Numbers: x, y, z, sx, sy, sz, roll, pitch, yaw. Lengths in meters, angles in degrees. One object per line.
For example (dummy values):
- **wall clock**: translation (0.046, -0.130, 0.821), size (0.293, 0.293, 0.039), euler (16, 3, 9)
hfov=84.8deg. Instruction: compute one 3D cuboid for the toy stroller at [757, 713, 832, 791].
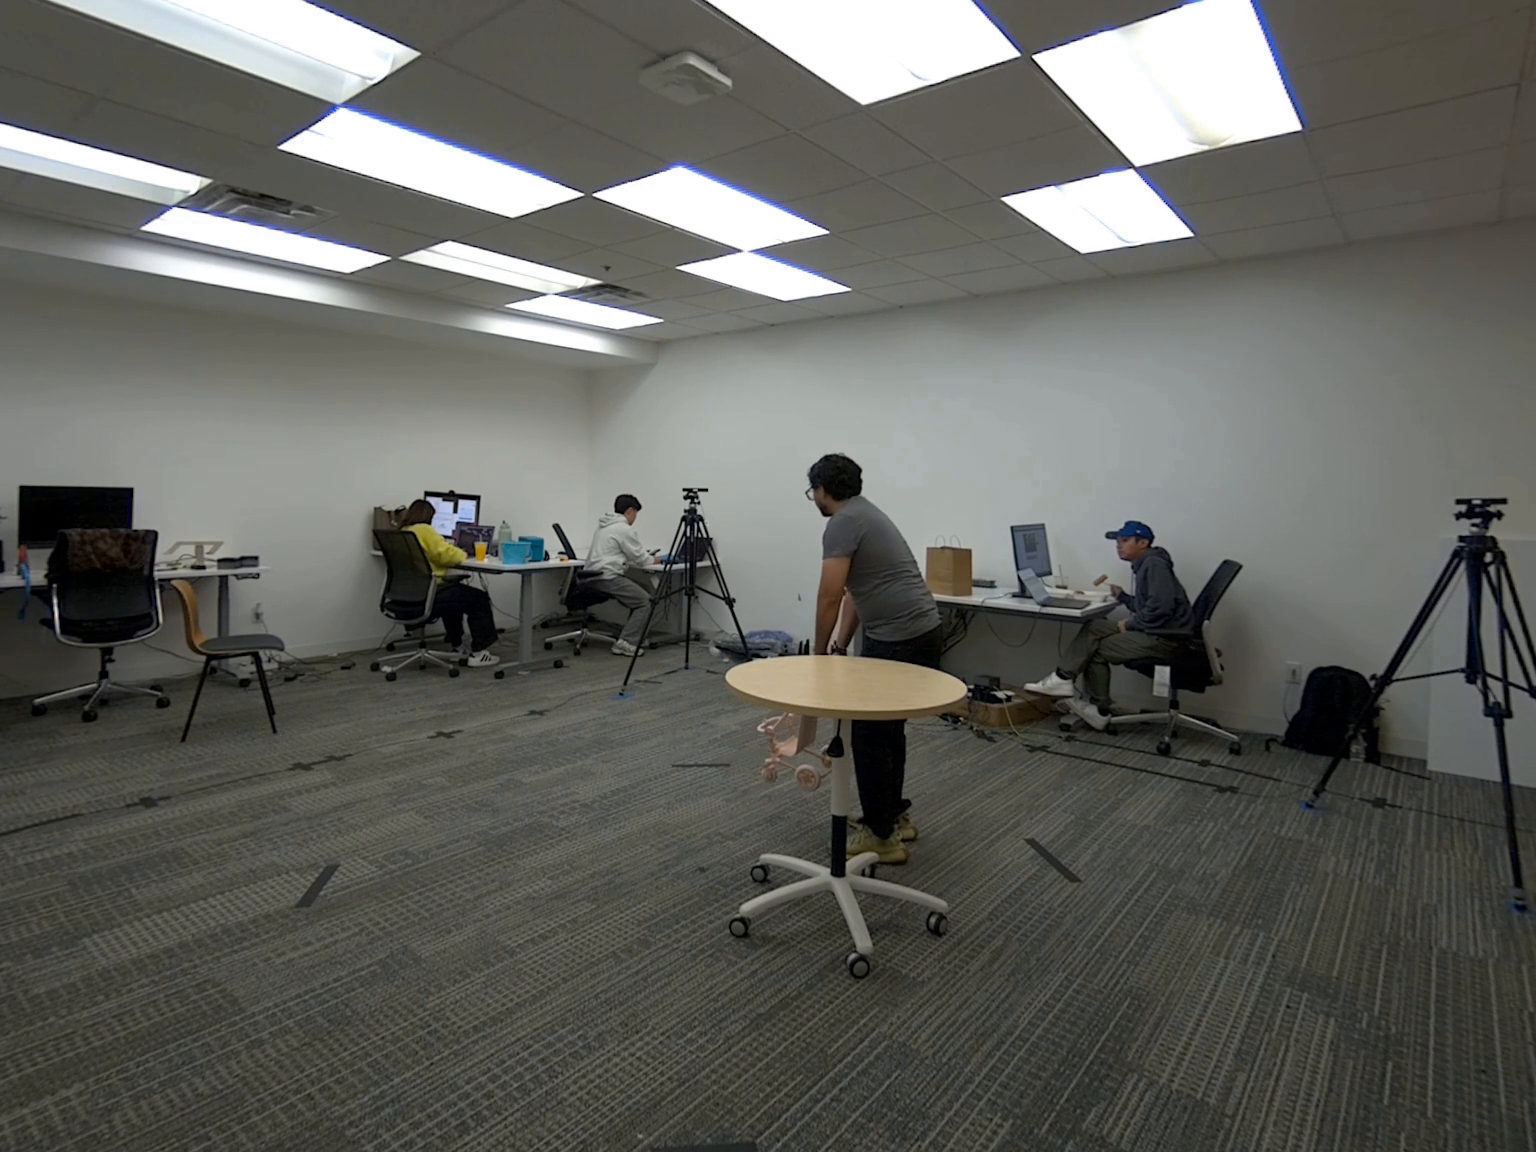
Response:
- **toy stroller**: translation (0.111, 0.638, 3.578), size (0.352, 0.531, 0.274), euler (4, 8, 33)
